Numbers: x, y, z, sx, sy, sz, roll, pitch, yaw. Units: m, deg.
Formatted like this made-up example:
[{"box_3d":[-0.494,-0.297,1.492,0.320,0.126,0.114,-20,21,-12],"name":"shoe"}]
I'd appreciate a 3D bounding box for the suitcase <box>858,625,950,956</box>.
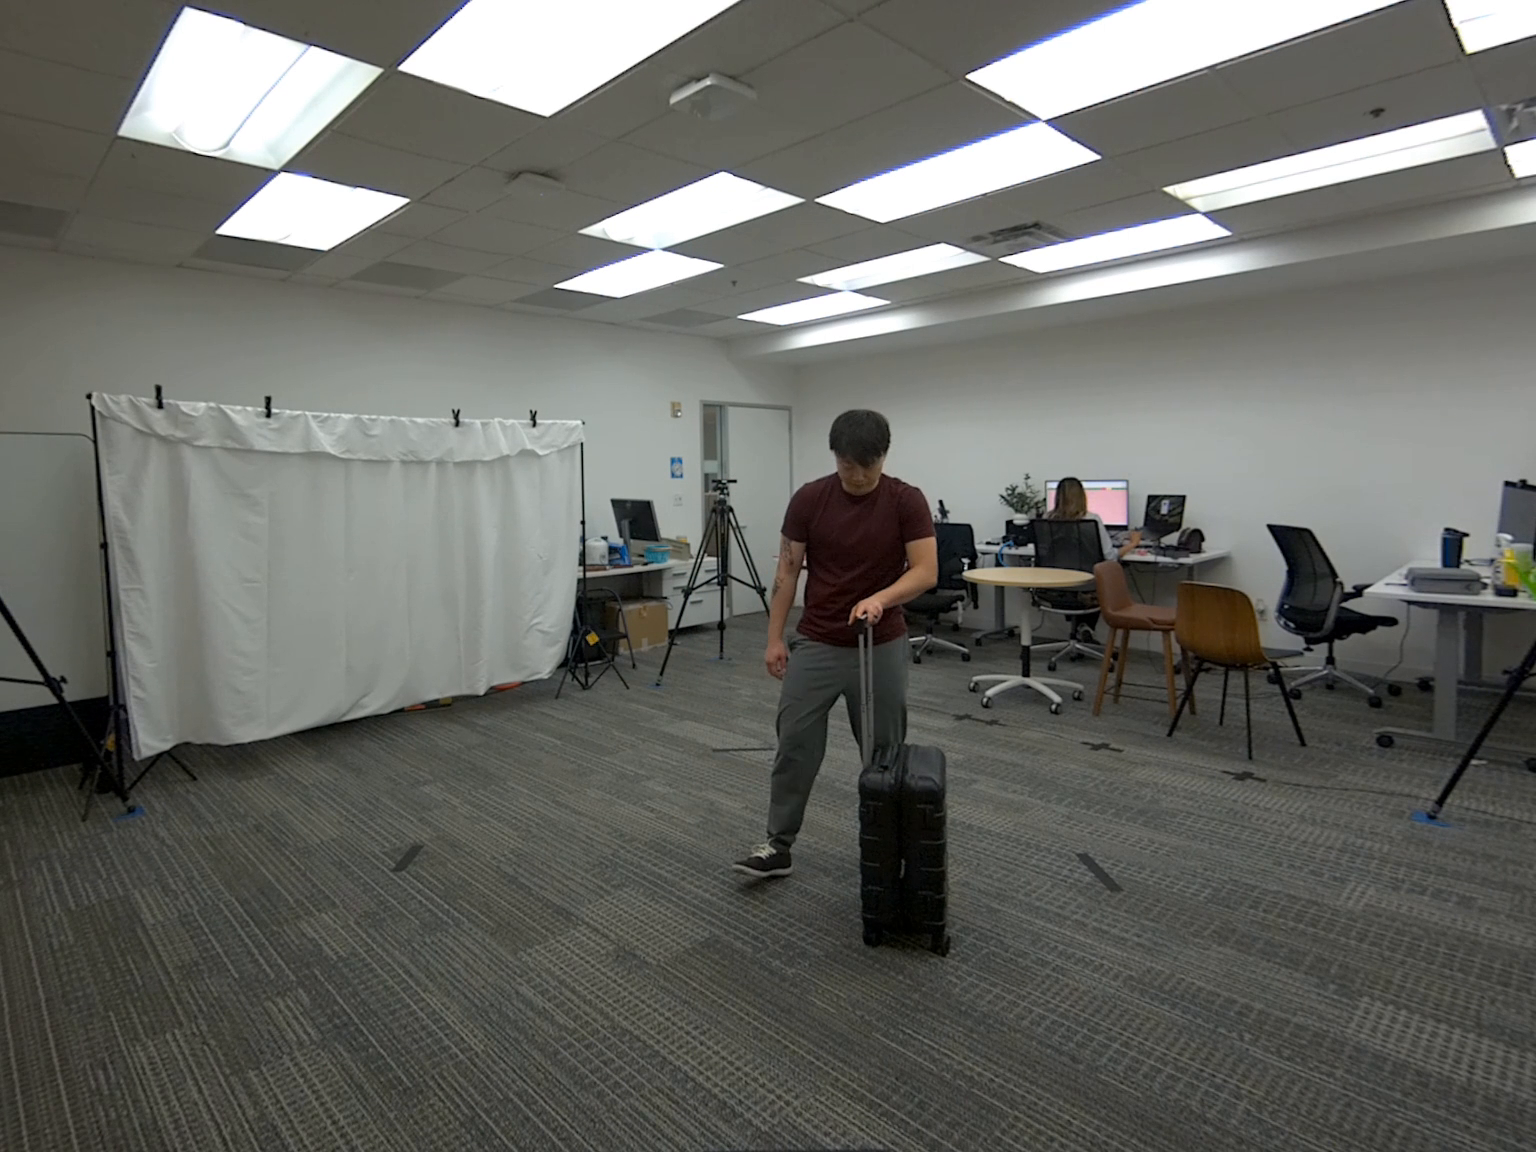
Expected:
[{"box_3d":[0.432,0.619,2.619,0.260,0.973,0.381,0,6,12],"name":"suitcase"}]
